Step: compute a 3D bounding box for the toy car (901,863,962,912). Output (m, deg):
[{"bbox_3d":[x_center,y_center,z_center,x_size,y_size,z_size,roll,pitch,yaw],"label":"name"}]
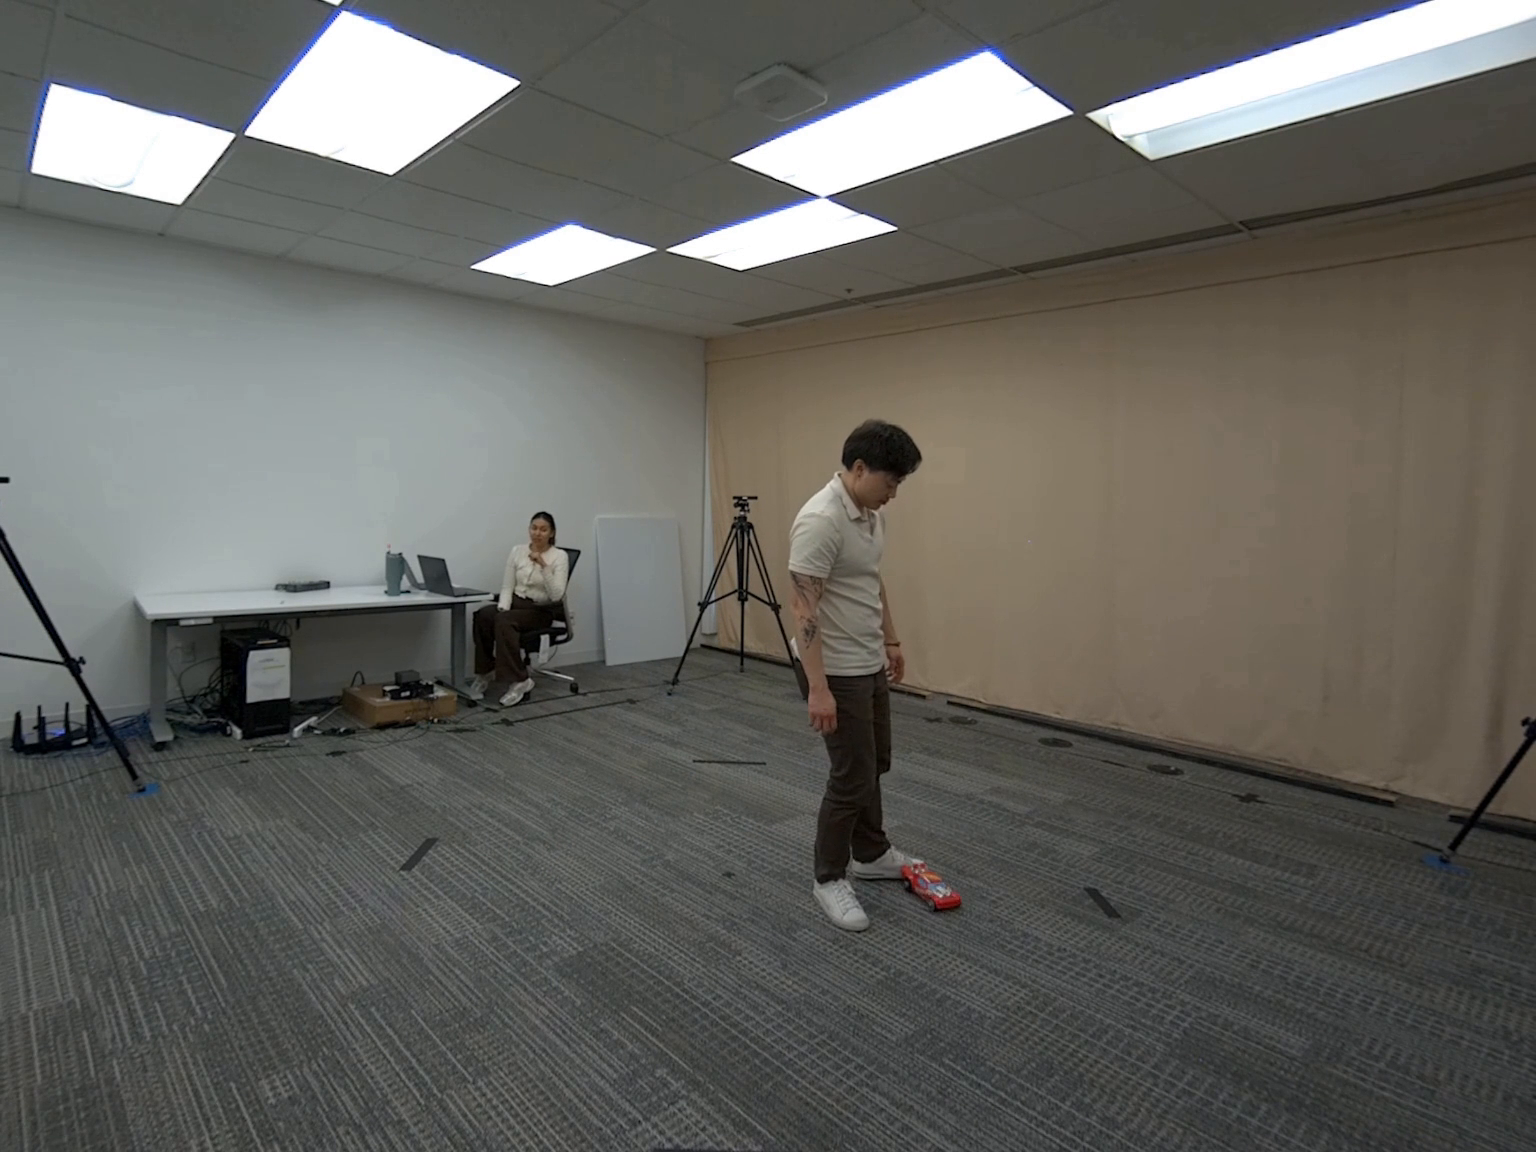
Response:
[{"bbox_3d":[0.565,1.101,2.965,0.128,0.082,0.261,1,17,-22],"label":"toy car"}]
